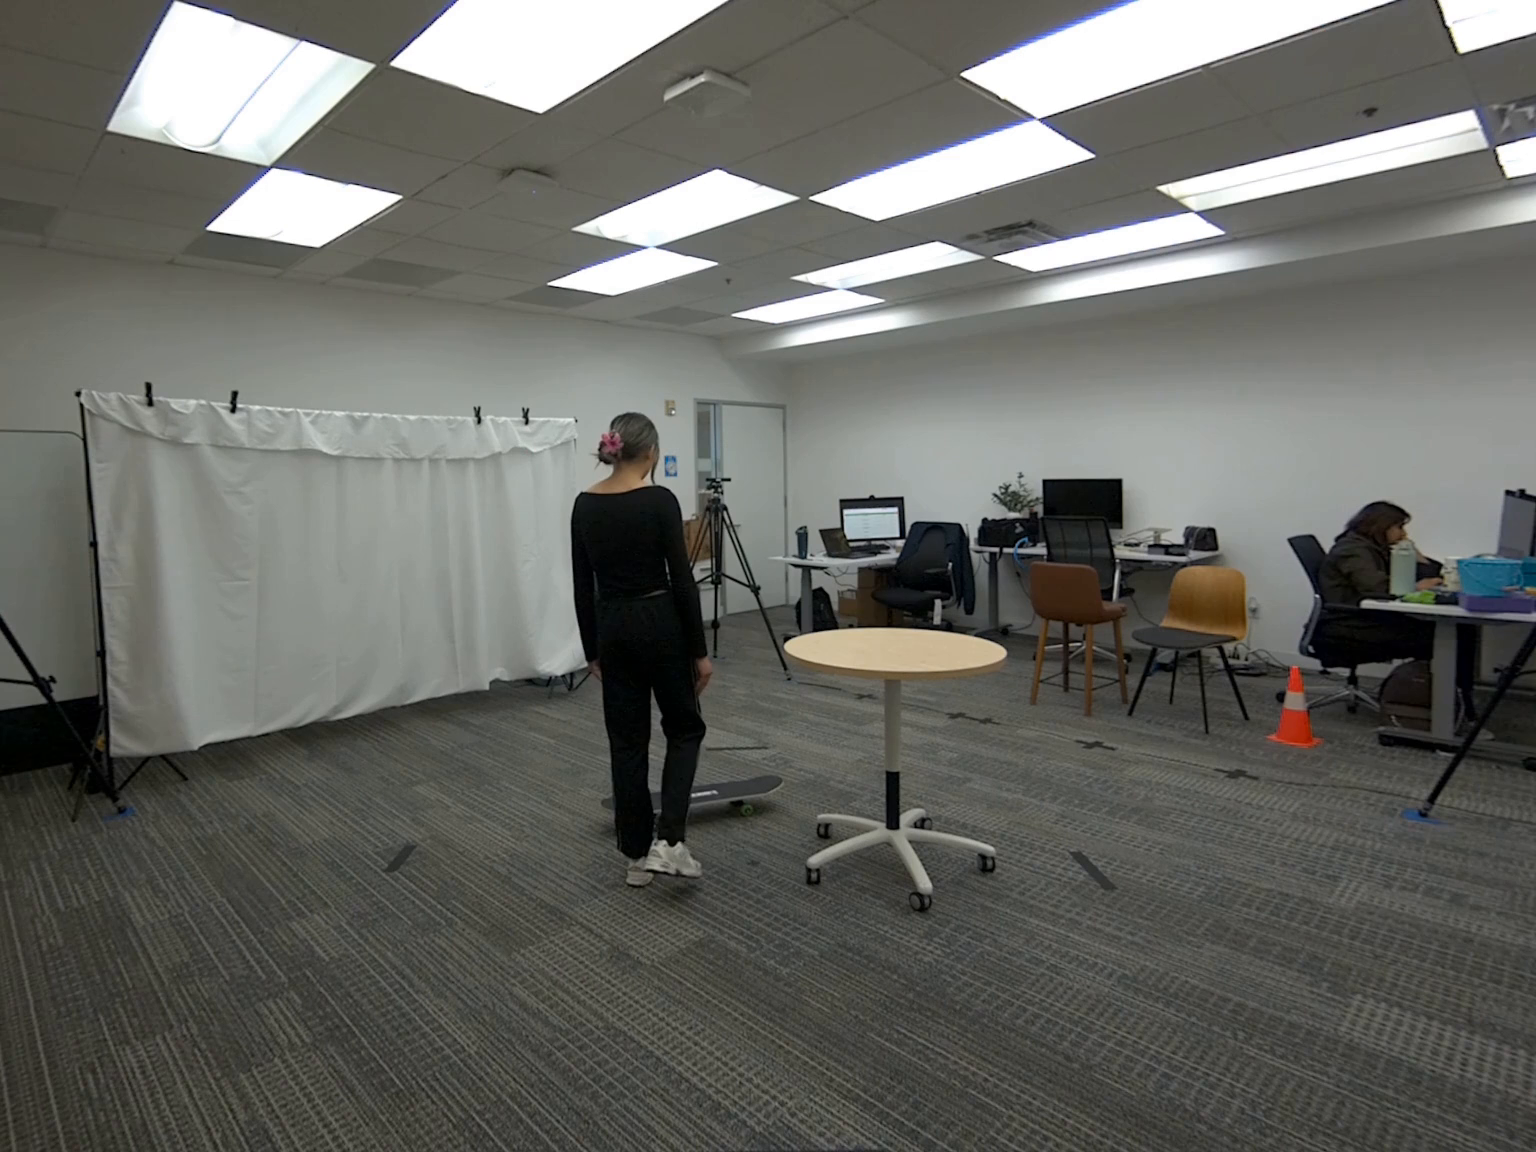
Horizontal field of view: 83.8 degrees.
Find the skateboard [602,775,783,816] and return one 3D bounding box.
[{"bbox_3d":[-0.305,0.940,3.545,0.773,0.110,0.197,-4,7,-18],"label":"skateboard"}]
